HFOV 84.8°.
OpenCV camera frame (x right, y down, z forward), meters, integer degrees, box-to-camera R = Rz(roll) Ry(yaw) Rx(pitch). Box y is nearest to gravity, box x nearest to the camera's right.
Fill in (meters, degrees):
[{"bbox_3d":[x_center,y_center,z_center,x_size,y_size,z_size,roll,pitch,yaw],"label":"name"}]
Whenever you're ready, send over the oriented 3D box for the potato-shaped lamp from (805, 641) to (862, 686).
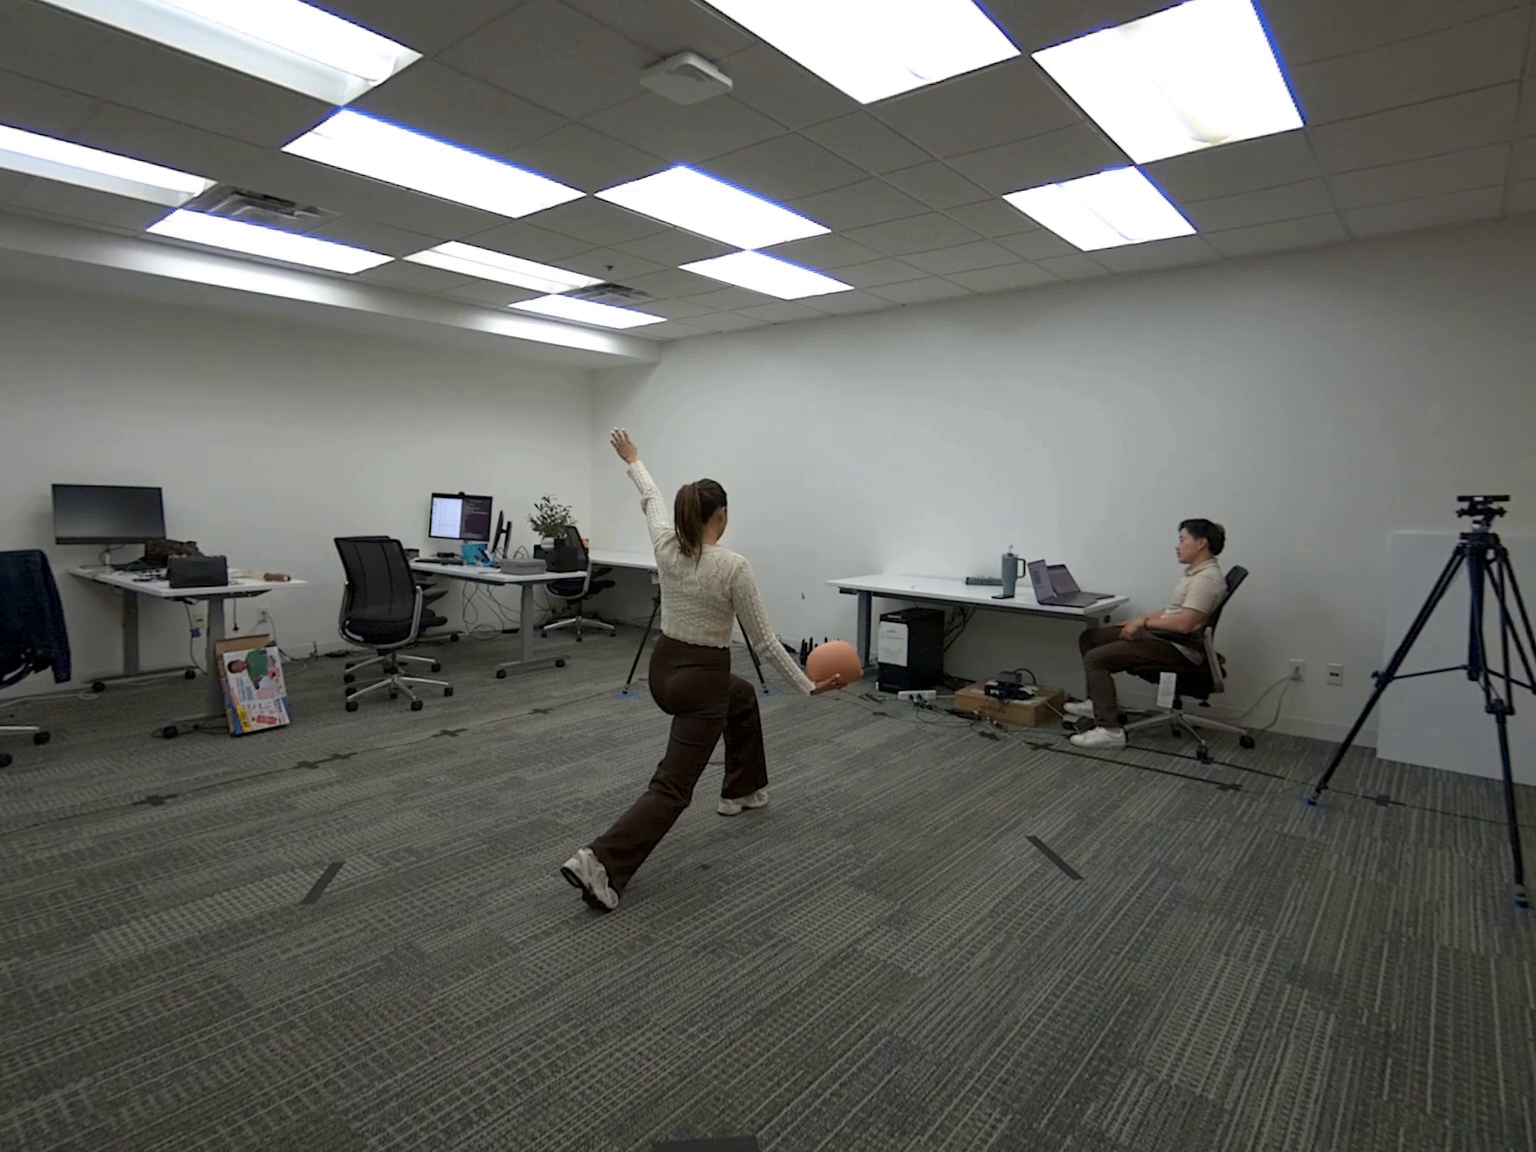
[{"bbox_3d":[0.241,0.345,3.296,0.196,0.173,0.165,-18,-6,-15],"label":"potato-shaped lamp"}]
